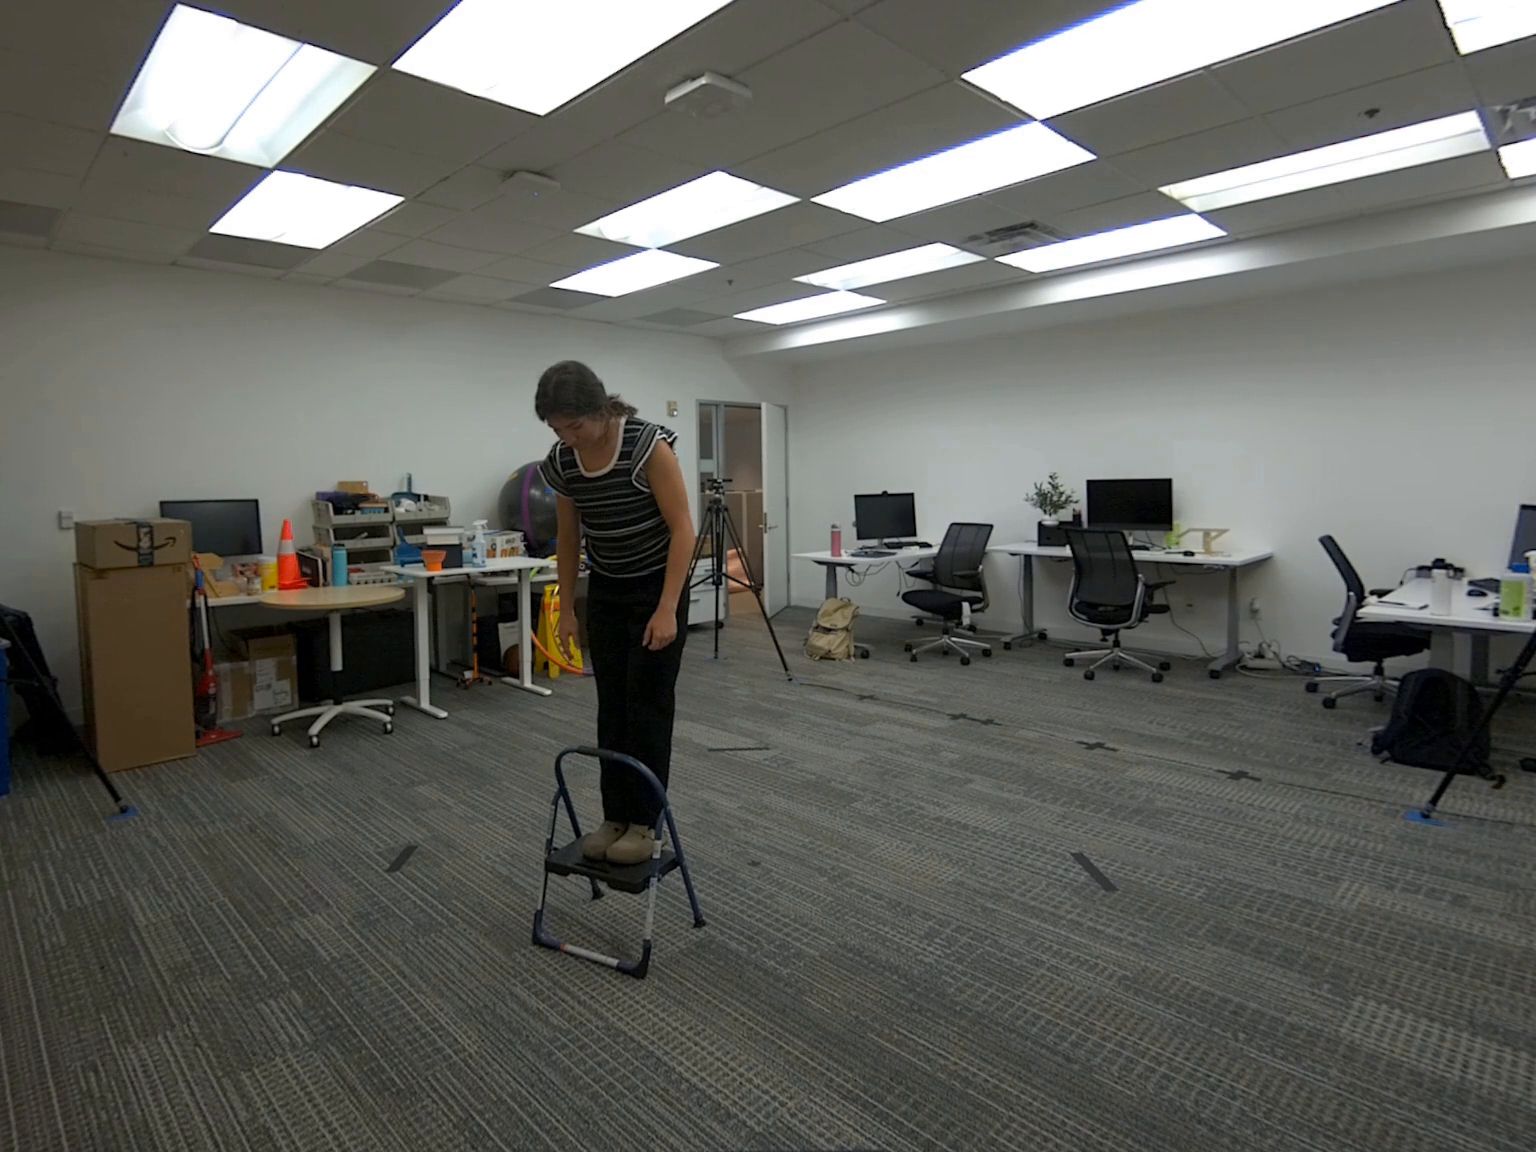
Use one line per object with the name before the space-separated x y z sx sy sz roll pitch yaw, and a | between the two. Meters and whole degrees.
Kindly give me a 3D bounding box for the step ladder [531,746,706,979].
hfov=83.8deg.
step ladder | -0.466 0.810 2.624 0.441 0.604 0.342 1 5 27
